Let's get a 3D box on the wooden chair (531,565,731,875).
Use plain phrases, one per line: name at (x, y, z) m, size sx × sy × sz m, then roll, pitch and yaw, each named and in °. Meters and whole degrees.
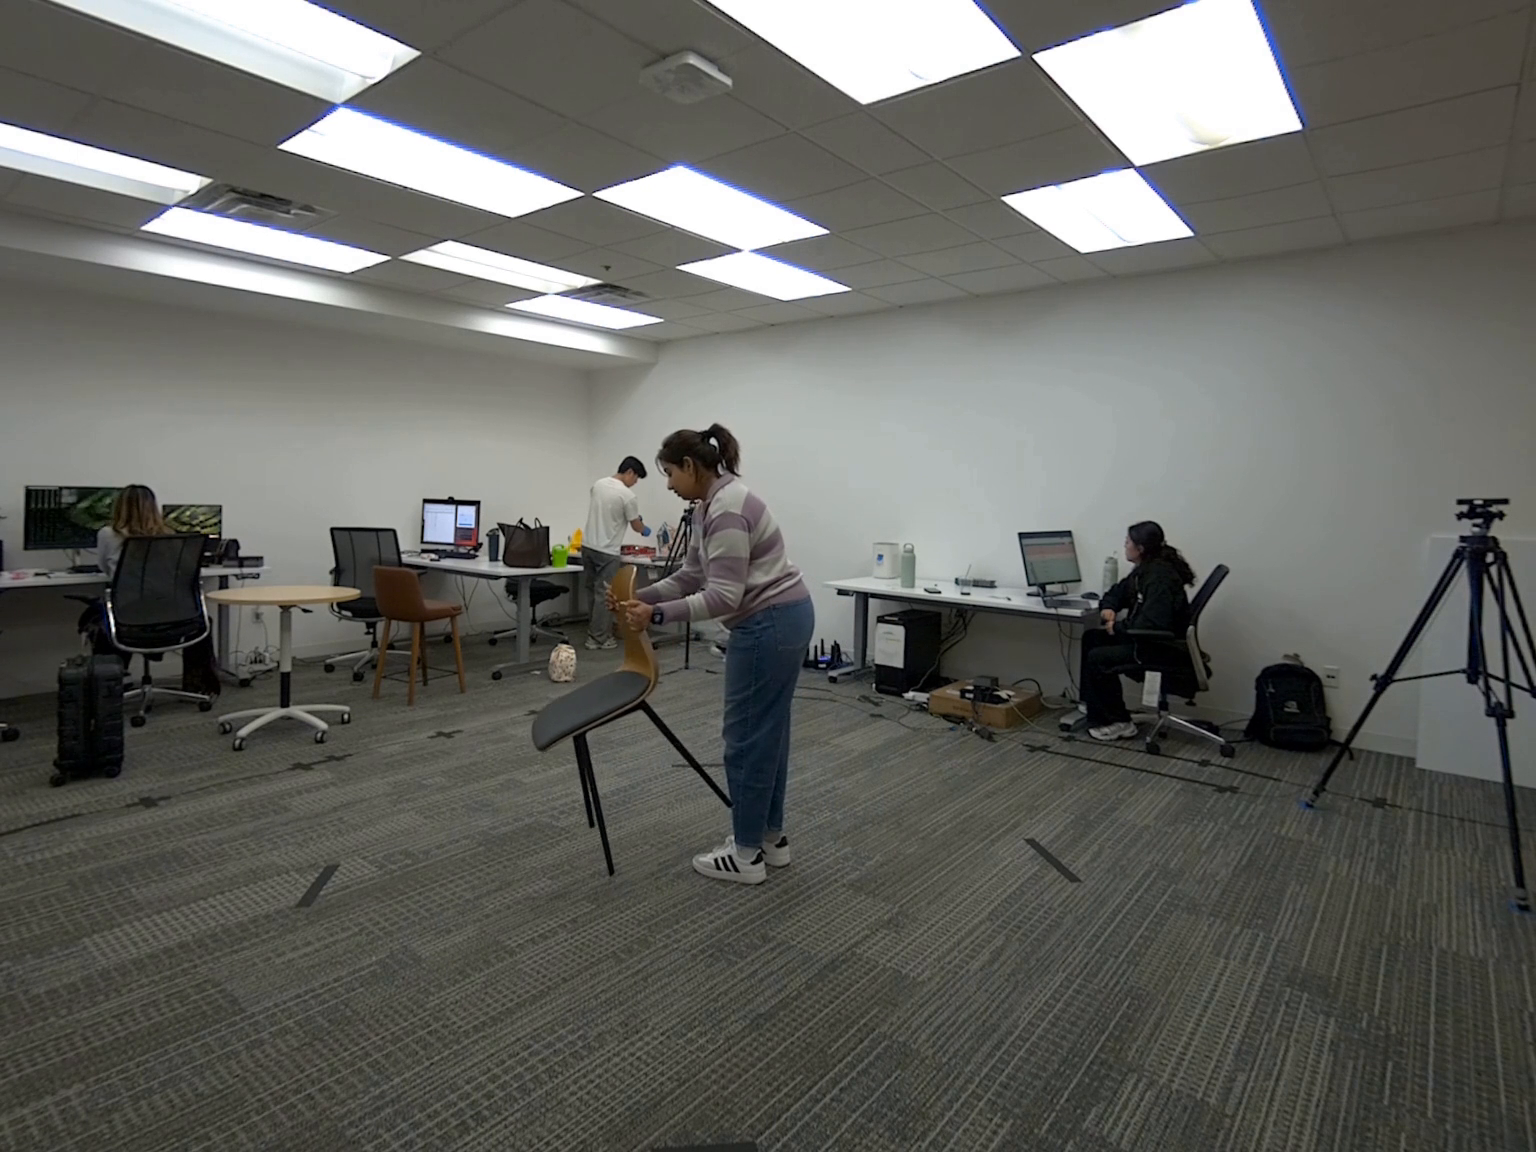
wooden chair at (-0.564, 0.466, 2.917) m, size 0.518 × 0.870 × 0.487 m, roll -21°, pitch 8°, yaw -16°
